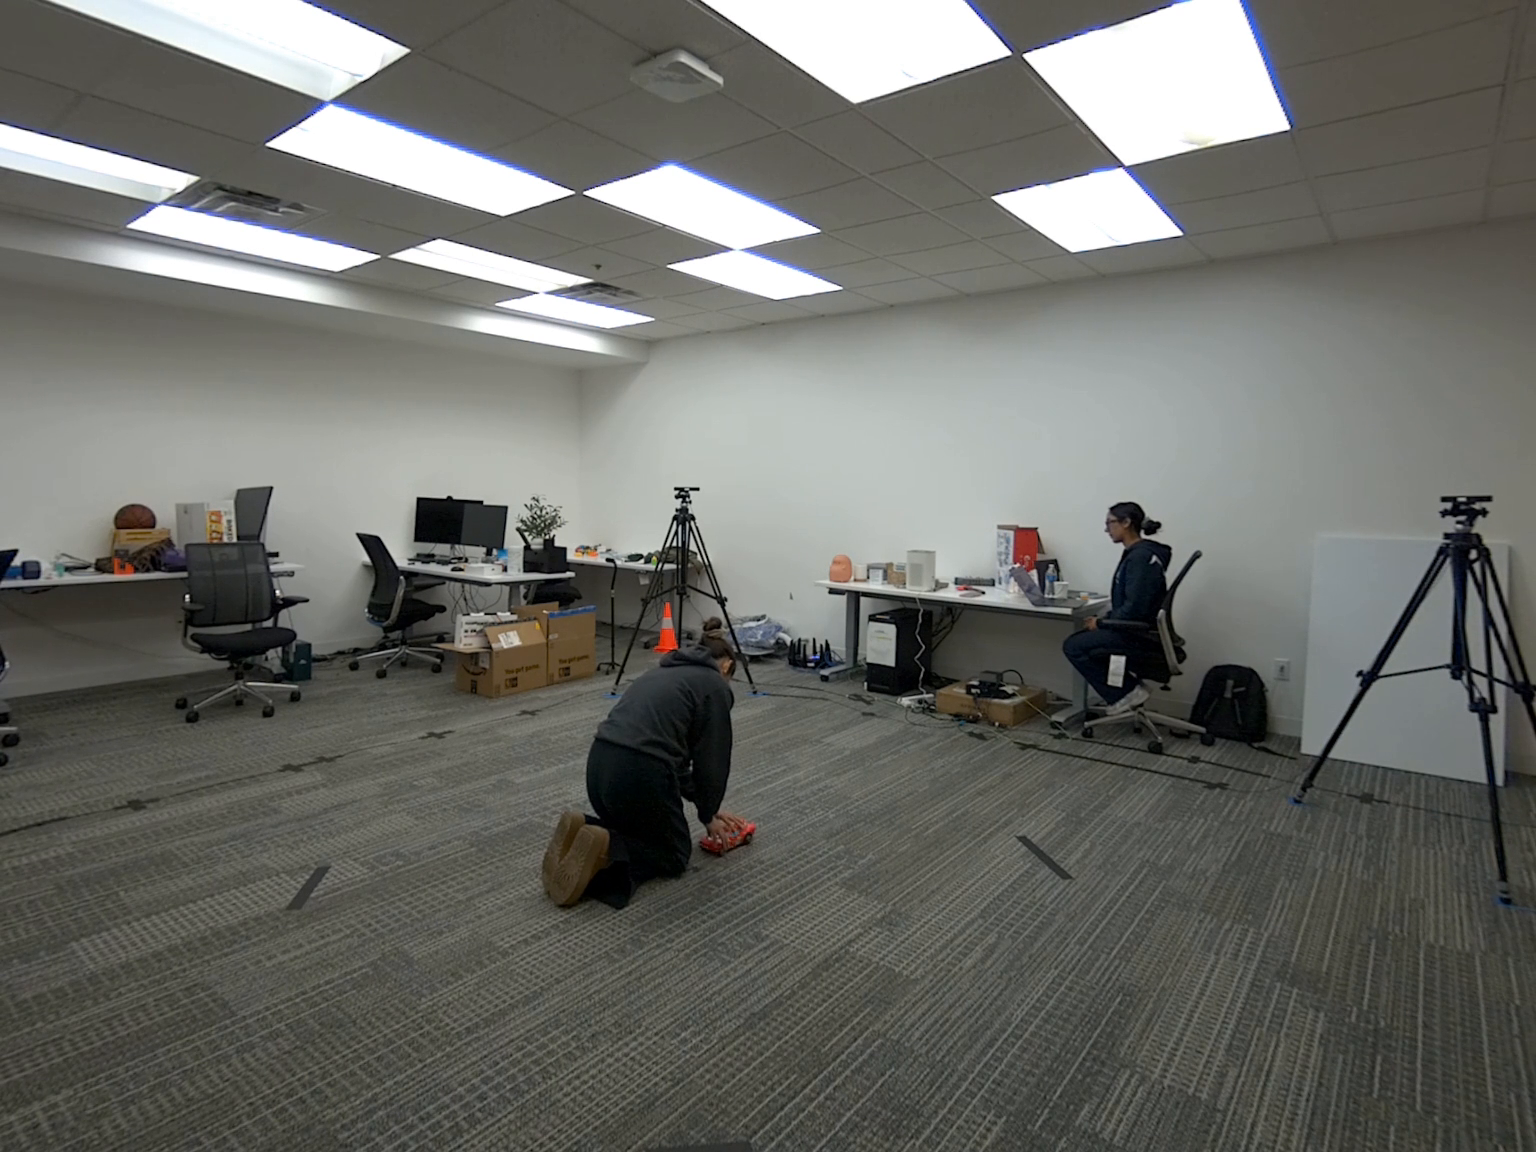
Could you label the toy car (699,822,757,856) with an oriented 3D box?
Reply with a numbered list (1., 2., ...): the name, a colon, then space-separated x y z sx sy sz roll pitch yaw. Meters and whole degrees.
1. toy car: -0.152 1.015 3.320 0.134 0.082 0.250 3 18 42
